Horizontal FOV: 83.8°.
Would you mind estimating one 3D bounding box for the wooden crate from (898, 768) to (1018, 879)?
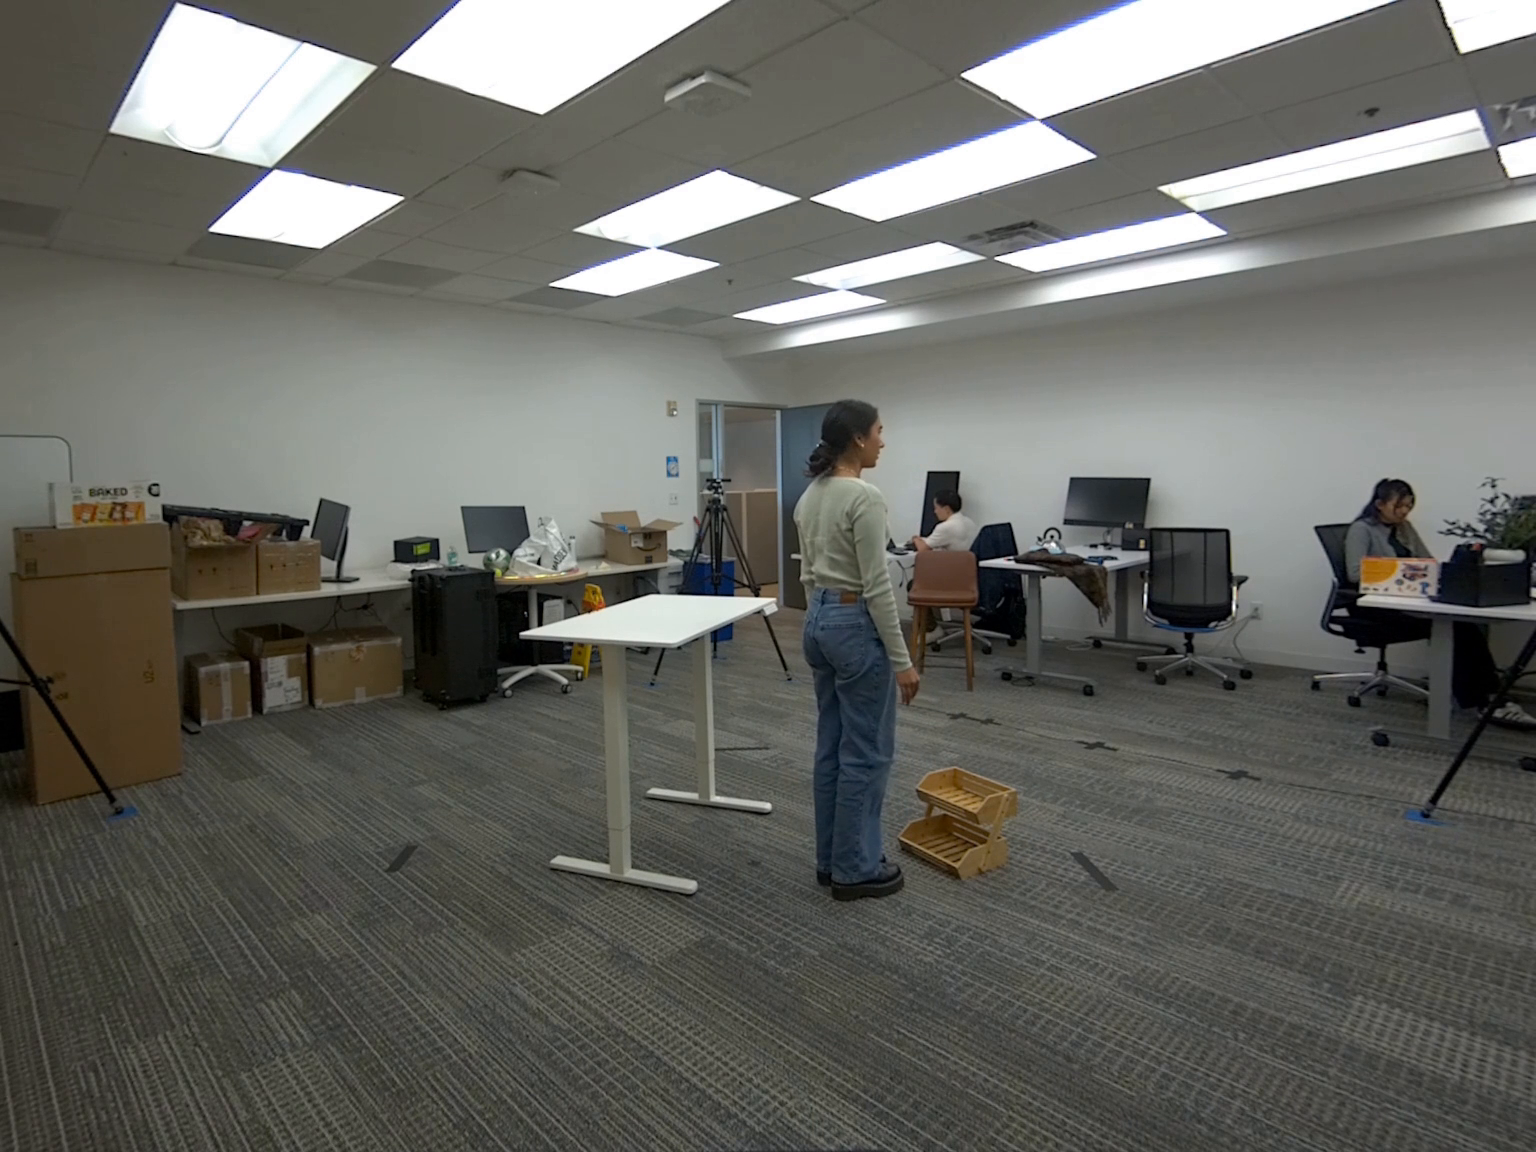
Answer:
[{"bbox_3d":[0.699,0.894,3.141,0.294,0.272,0.334,-3,5,-33],"label":"wooden crate"}]
